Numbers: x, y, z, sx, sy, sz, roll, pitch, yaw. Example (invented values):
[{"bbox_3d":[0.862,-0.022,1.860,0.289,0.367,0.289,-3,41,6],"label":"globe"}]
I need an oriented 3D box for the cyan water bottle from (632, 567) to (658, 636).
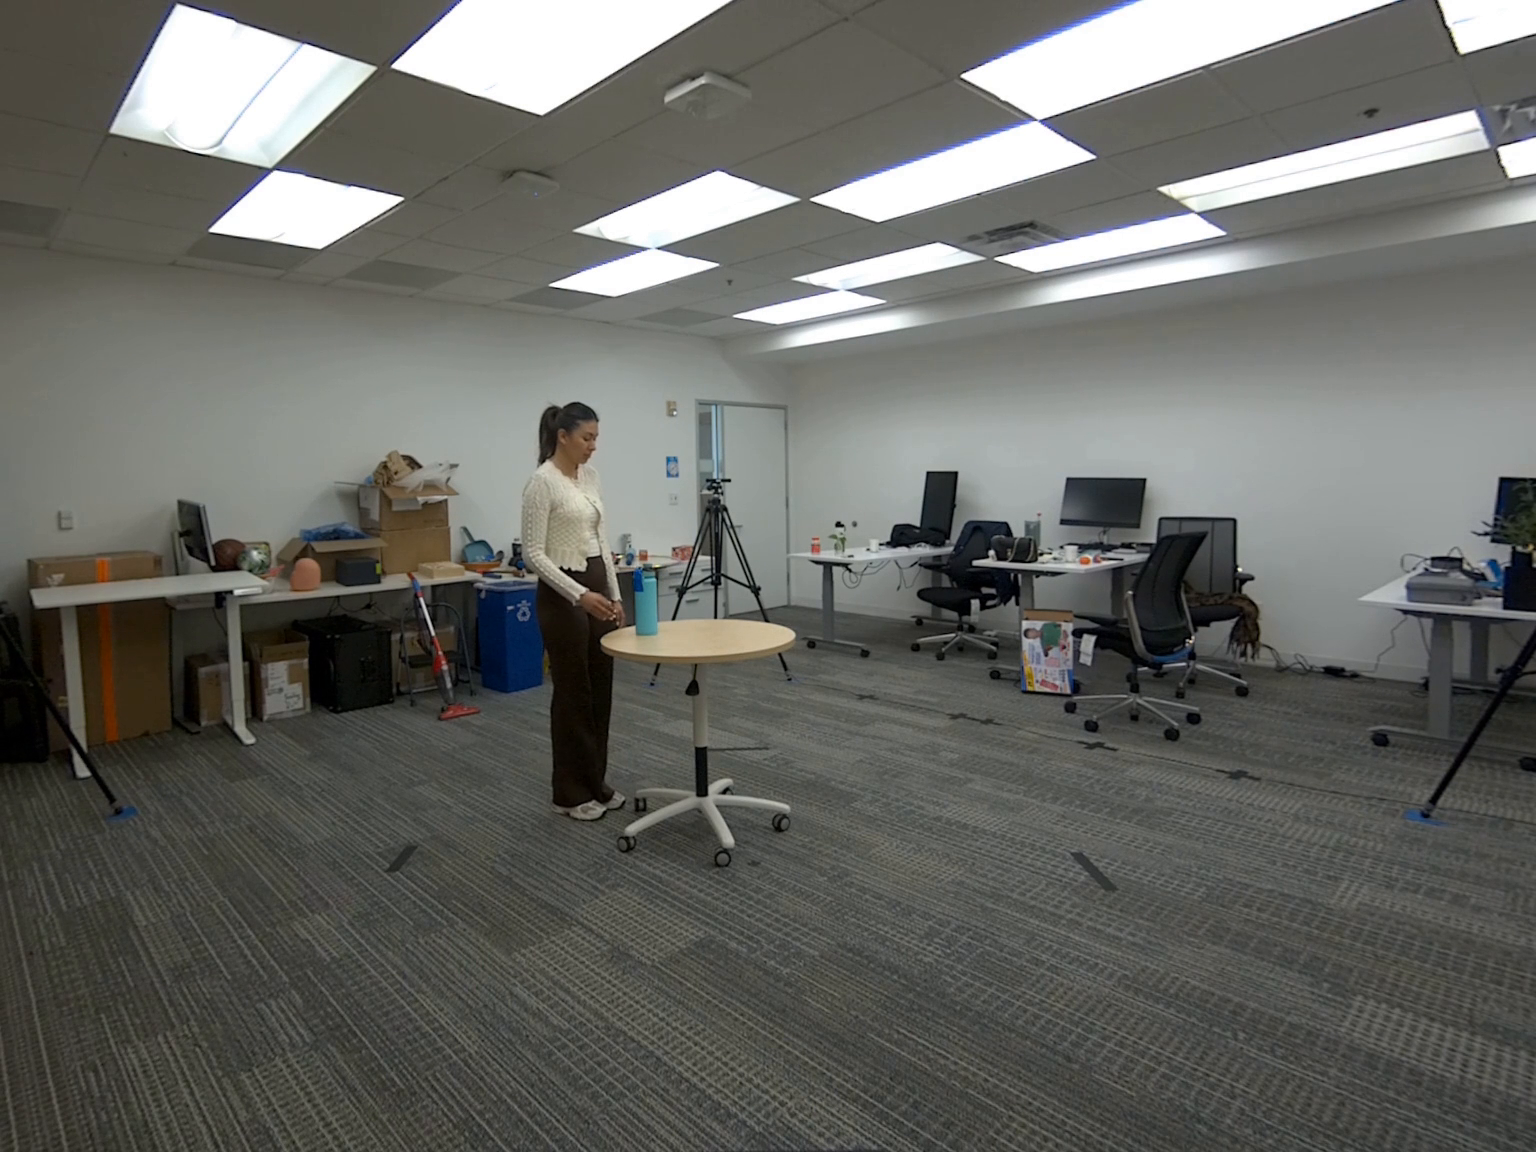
[{"bbox_3d":[-0.501,0.095,3.437,0.092,0.282,0.093,-2,5,-1],"label":"cyan water bottle"}]
